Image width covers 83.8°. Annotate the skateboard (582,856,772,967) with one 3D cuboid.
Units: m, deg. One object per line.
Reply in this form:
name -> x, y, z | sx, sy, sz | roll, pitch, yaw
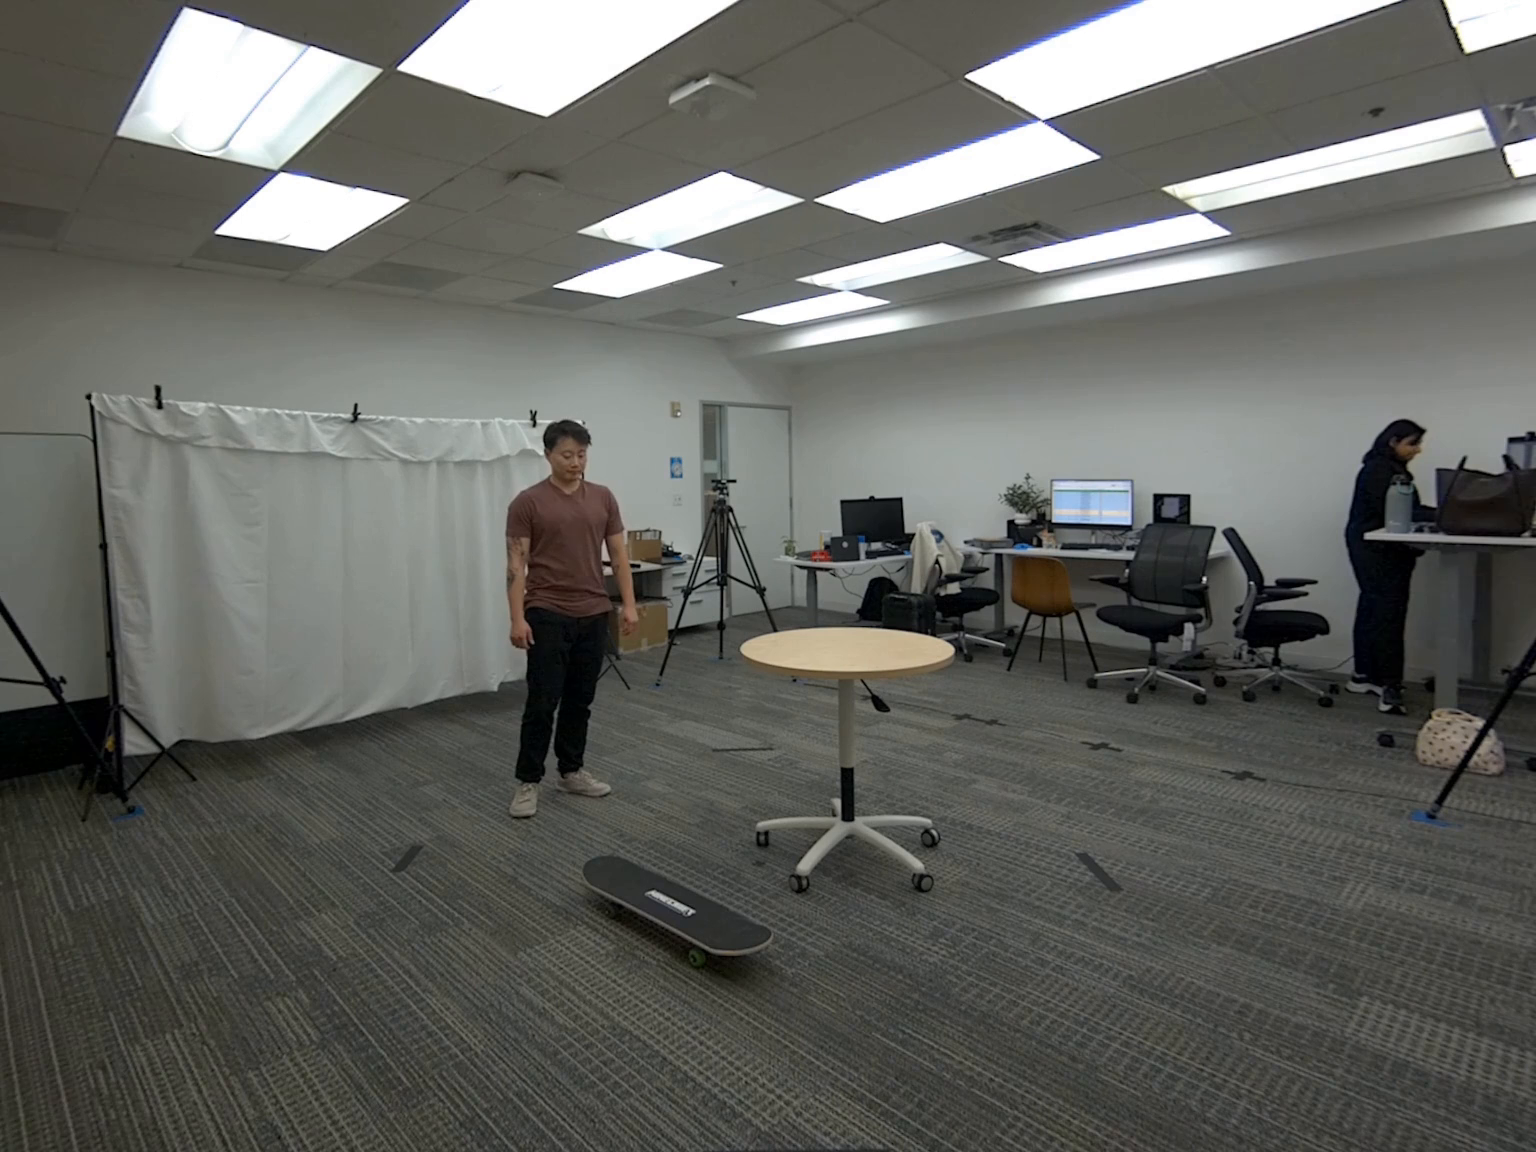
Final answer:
skateboard -> -0.298, 1.050, 2.653 | 0.810, 0.110, 0.188 | 5, 10, 44
